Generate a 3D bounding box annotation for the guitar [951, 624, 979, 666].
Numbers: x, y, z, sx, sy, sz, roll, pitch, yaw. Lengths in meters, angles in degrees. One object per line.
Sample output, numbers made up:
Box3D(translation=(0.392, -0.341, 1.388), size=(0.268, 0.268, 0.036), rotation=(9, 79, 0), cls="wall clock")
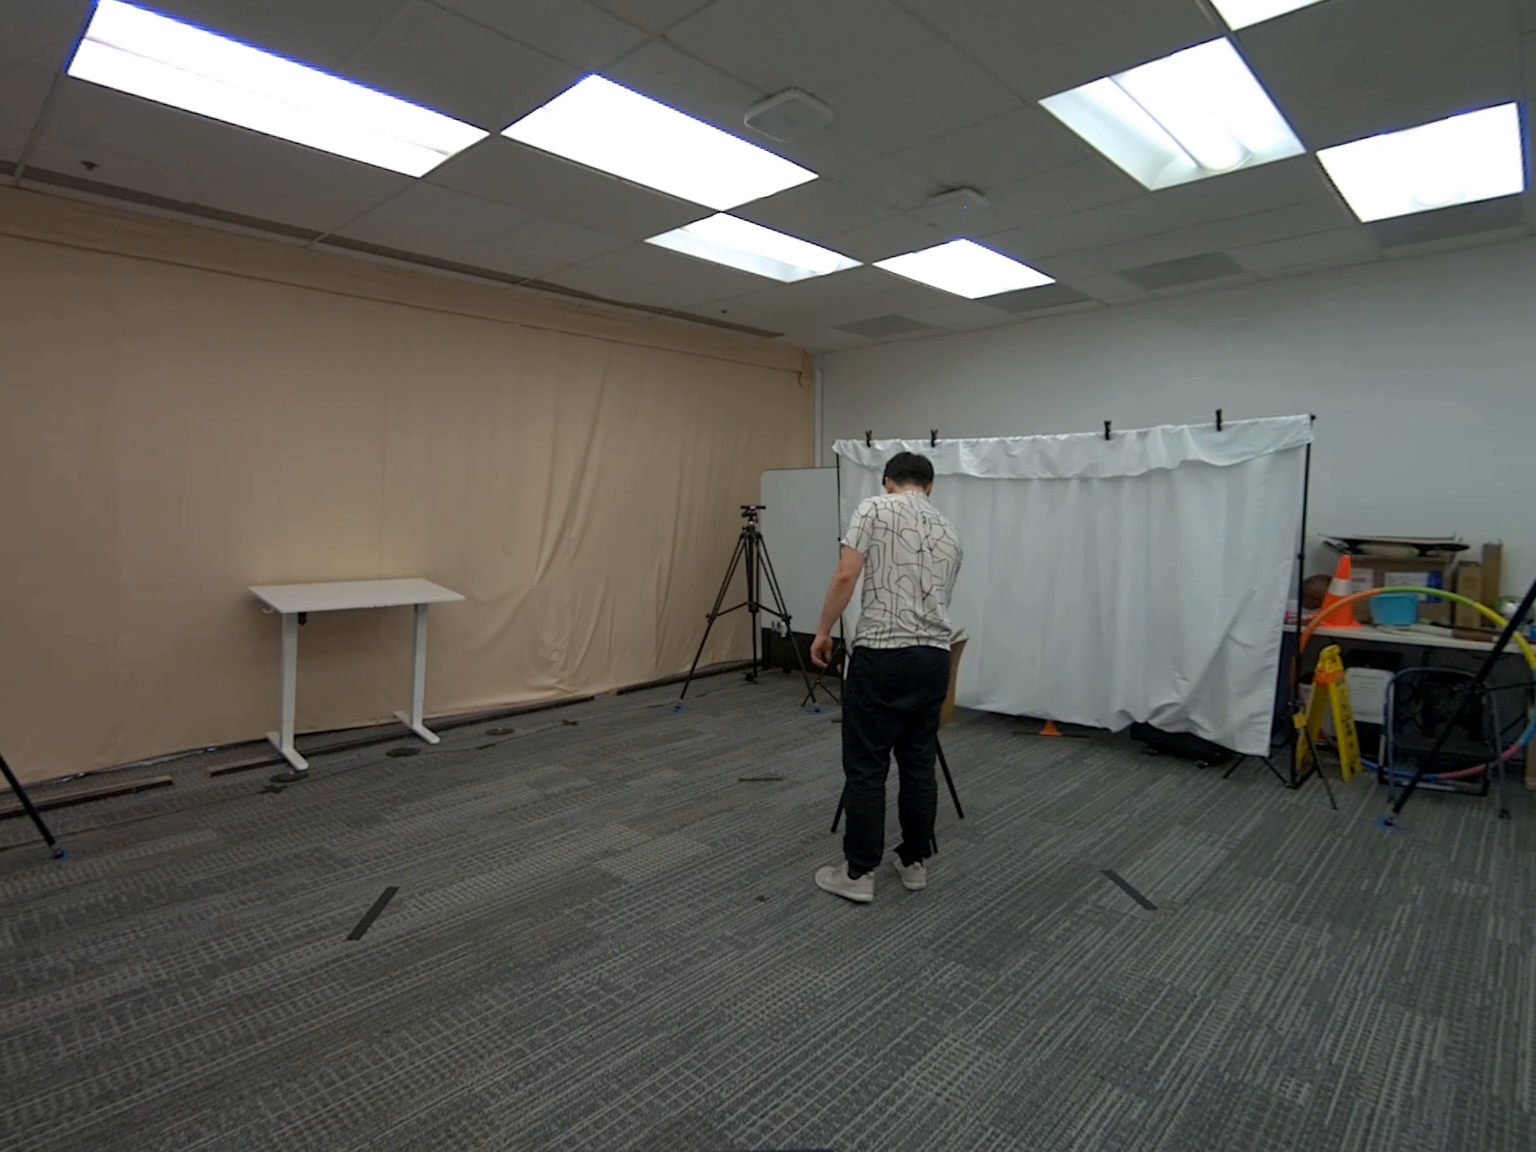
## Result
Box3D(translation=(0.666, 0.419, 3.555), size=(0.072, 0.499, 0.188), rotation=(45, 26, 17), cls="guitar")
